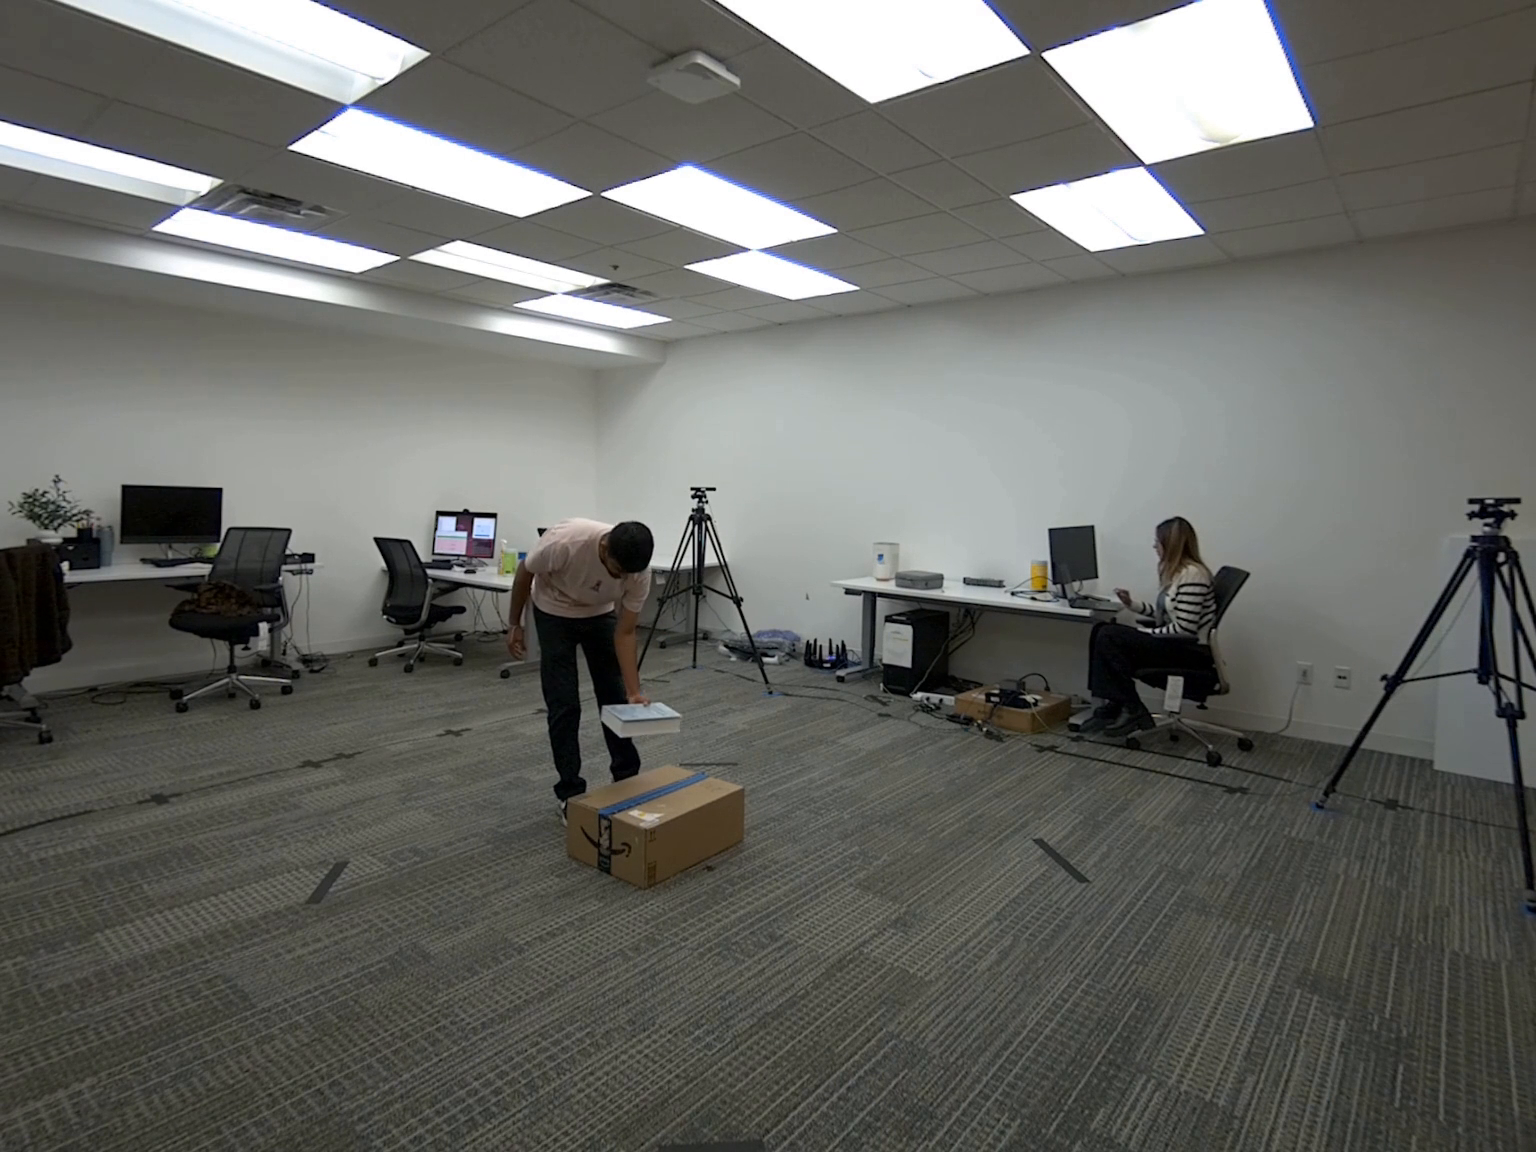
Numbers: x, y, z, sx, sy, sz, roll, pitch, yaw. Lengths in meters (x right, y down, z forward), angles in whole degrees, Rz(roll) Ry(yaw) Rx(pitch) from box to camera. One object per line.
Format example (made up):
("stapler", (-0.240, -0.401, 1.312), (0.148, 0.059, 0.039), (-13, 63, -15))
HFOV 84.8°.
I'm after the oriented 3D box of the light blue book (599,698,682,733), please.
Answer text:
("light blue book", (-0.505, 0.544, 3.320), (0.253, 0.059, 0.198), (2, 9, -34))
